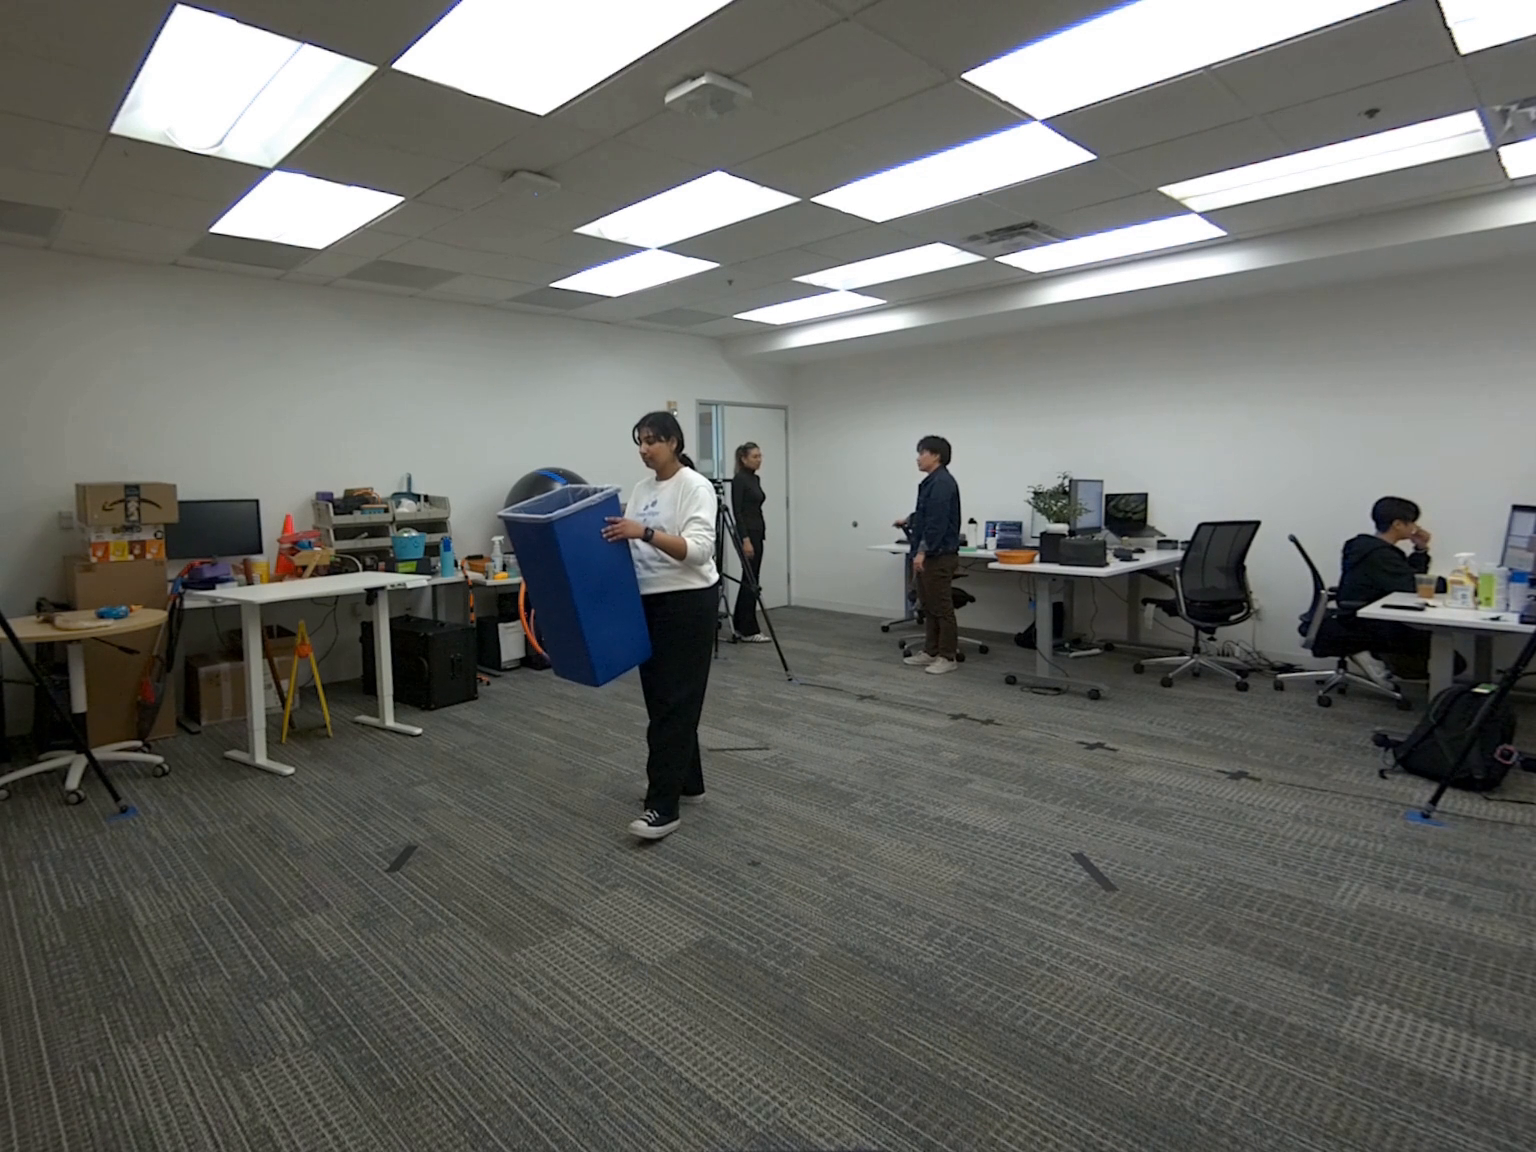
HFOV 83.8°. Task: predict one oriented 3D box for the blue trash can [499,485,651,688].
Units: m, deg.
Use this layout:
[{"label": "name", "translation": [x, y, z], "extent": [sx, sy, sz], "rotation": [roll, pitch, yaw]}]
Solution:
[{"label": "blue trash can", "translation": [-0.740, 0.037, 3.371], "extent": [0.390, 0.701, 0.369], "rotation": [4, 23, 43]}]
